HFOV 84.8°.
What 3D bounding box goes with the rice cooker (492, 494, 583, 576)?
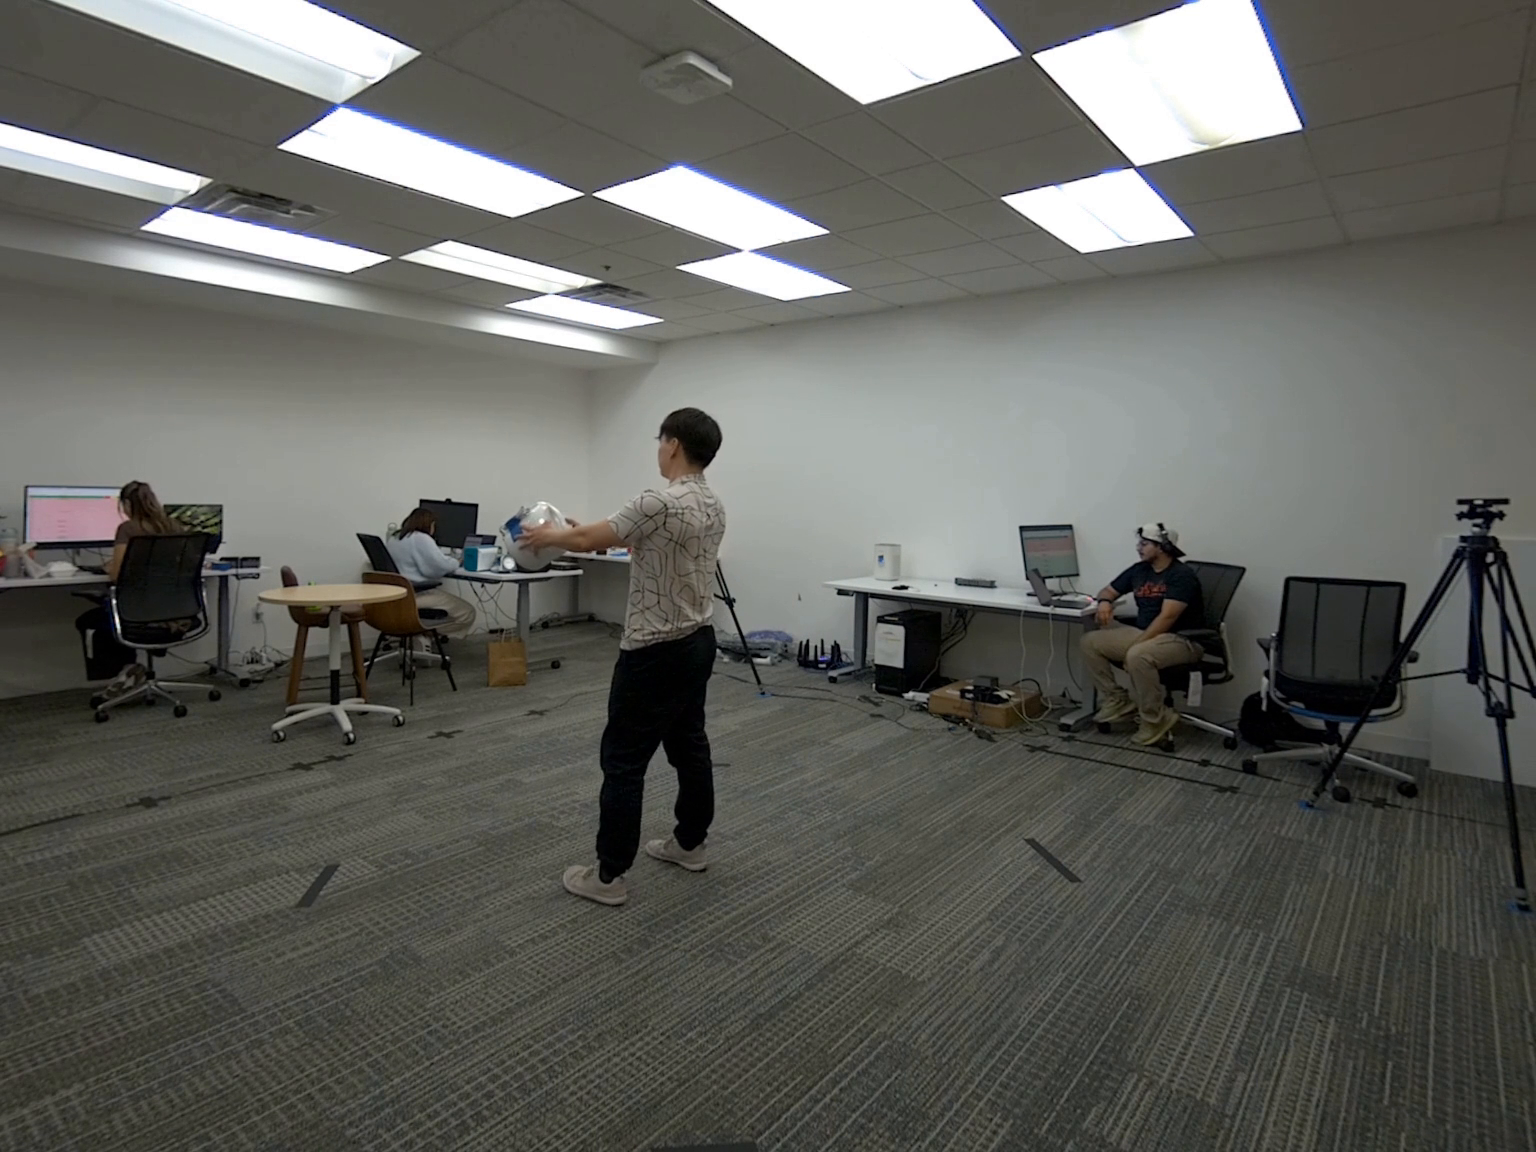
[{"bbox_3d":[-0.871,-0.161,3.243,0.235,0.224,0.212,-31,-10,22],"label":"rice cooker"}]
